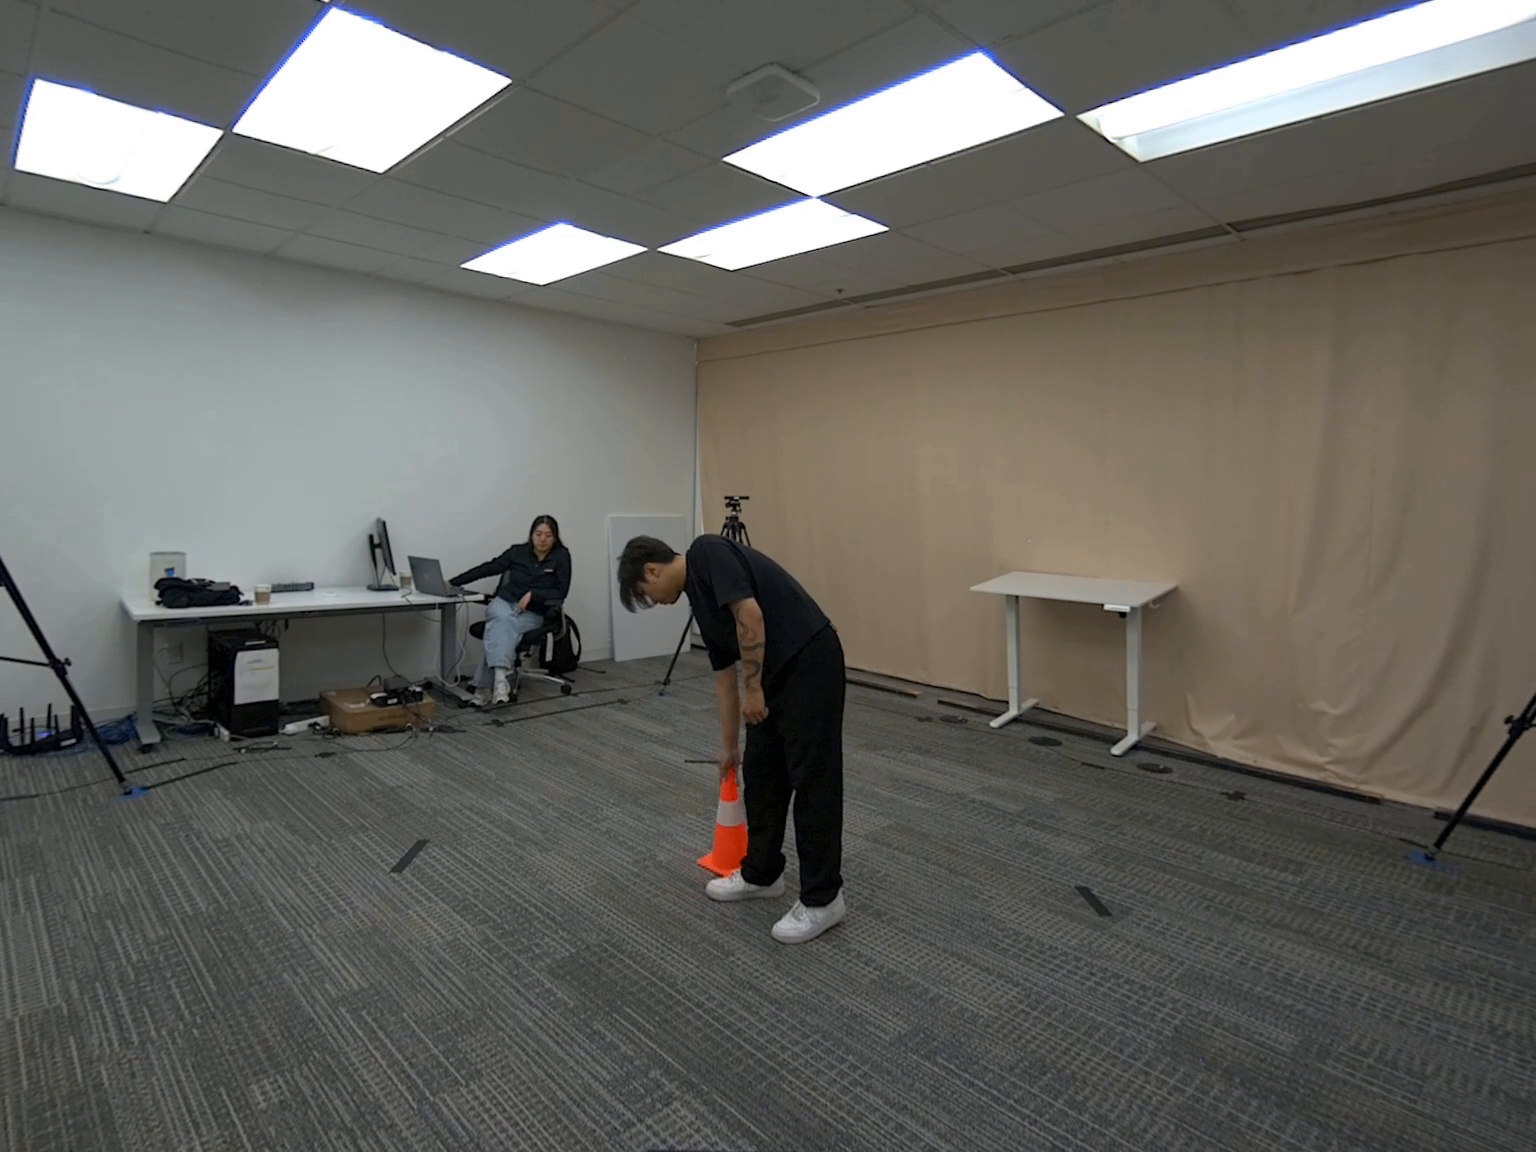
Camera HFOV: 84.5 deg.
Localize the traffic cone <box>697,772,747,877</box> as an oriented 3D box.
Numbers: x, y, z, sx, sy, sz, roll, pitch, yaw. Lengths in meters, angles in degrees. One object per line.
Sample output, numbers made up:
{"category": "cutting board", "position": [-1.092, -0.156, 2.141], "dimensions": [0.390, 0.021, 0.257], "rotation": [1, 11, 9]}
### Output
{"category": "traffic cone", "position": [-0.151, 0.901, 3.149], "dimensions": [0.201, 0.381, 0.209], "rotation": [-7, 13, -36]}
